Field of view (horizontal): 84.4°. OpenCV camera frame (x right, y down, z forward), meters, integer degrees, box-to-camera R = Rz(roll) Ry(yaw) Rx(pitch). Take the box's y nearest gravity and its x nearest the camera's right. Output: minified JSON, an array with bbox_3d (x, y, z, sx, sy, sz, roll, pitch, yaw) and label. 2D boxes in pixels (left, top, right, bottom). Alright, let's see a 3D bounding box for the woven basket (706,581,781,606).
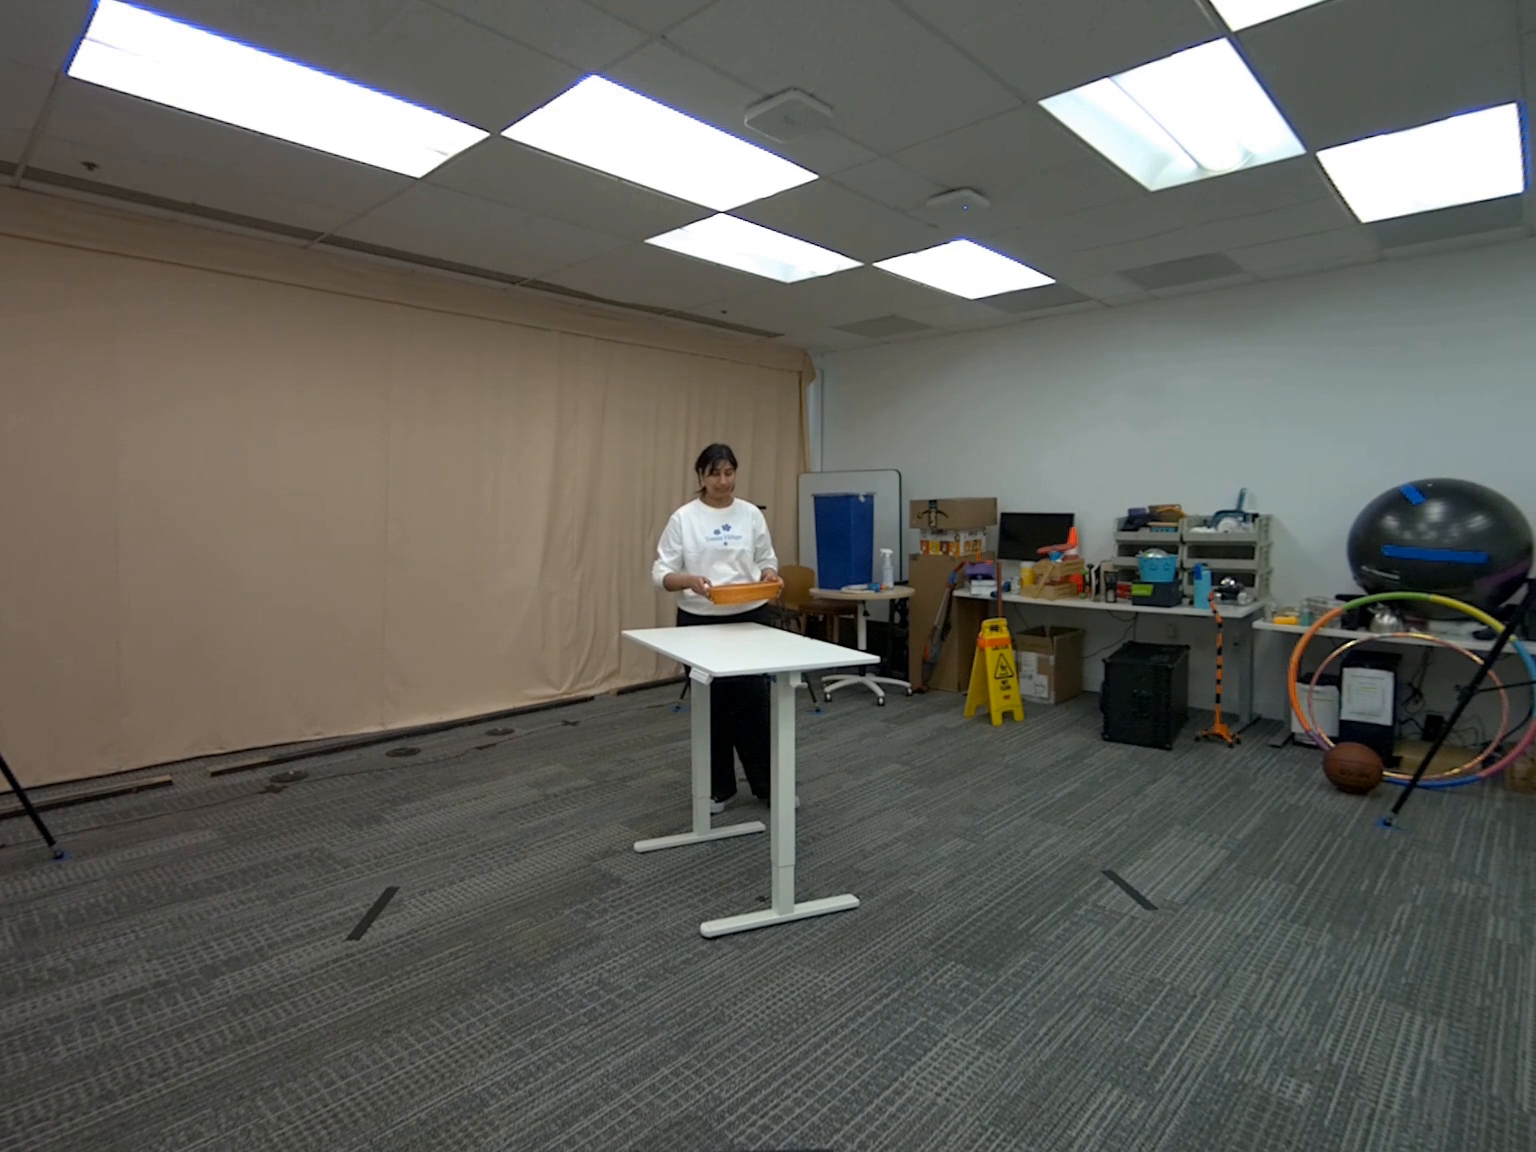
[{"bbox_3d":[-0.122,0.071,3.633,0.341,0.073,0.259,-7,5,-31],"label":"woven basket"}]
